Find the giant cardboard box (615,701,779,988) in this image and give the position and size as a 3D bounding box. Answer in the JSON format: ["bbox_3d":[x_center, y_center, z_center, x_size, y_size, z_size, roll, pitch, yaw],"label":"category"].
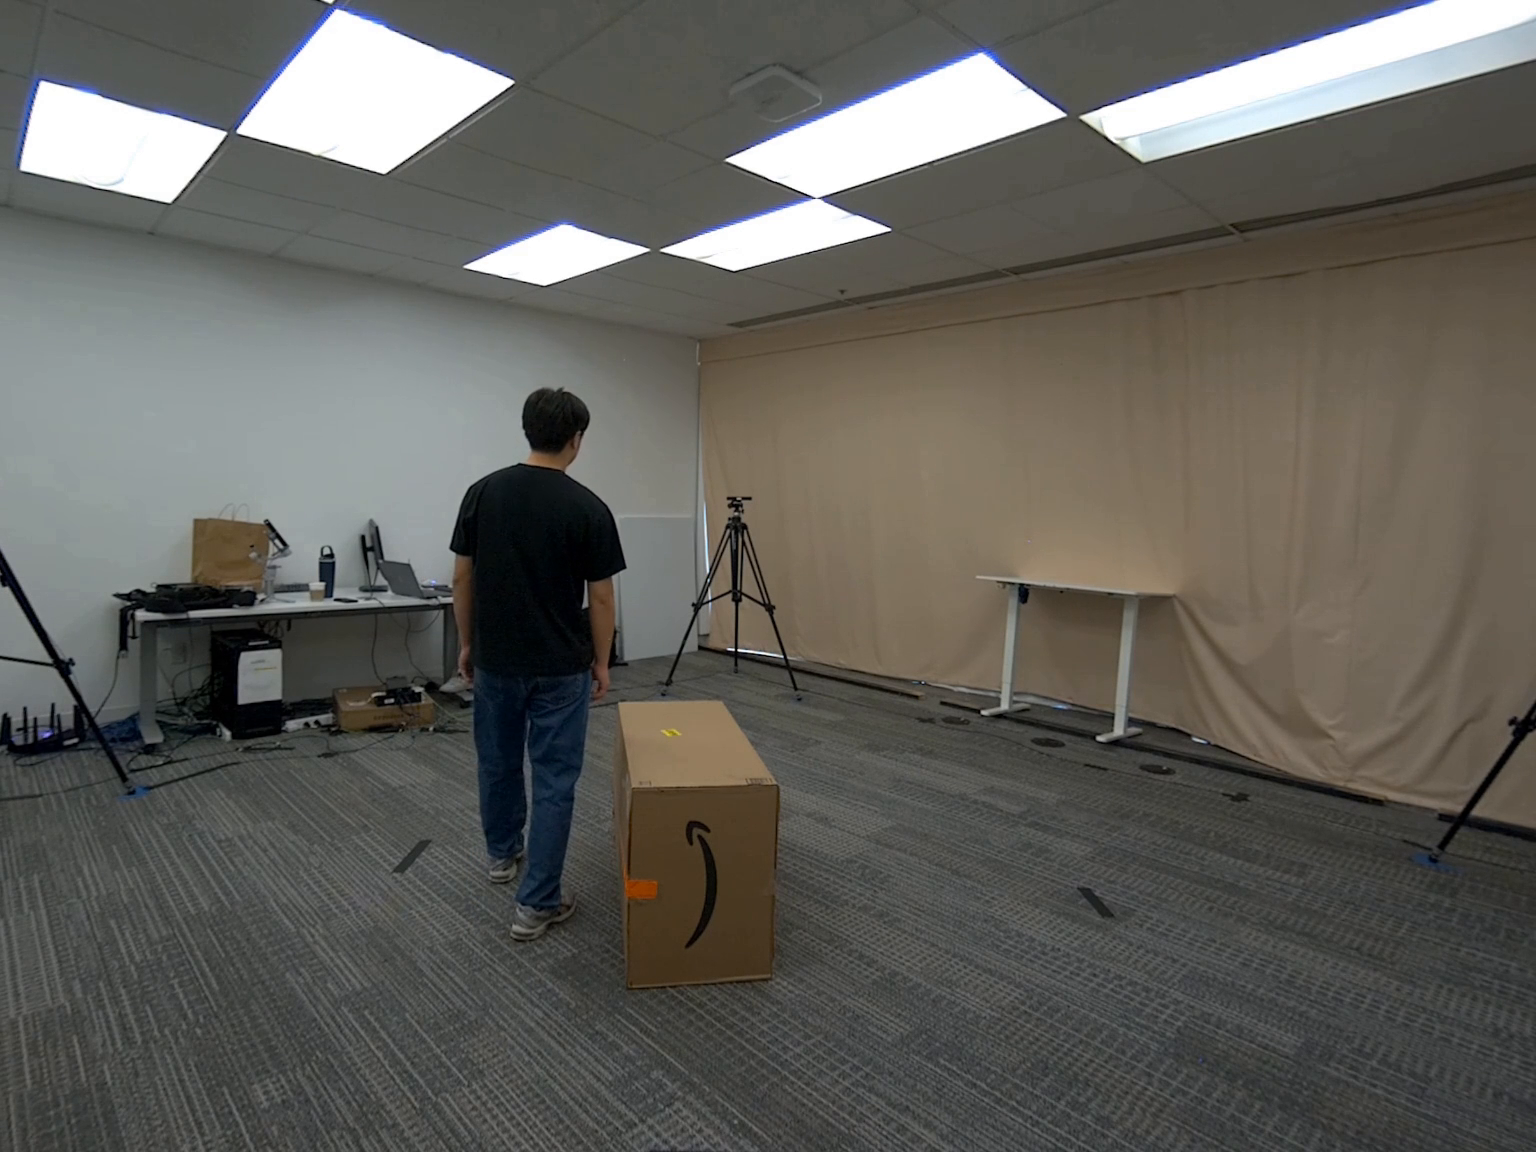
[{"bbox_3d":[-0.296,0.834,2.892,0.443,0.582,1.039,0,4,-12],"label":"giant cardboard box"}]
